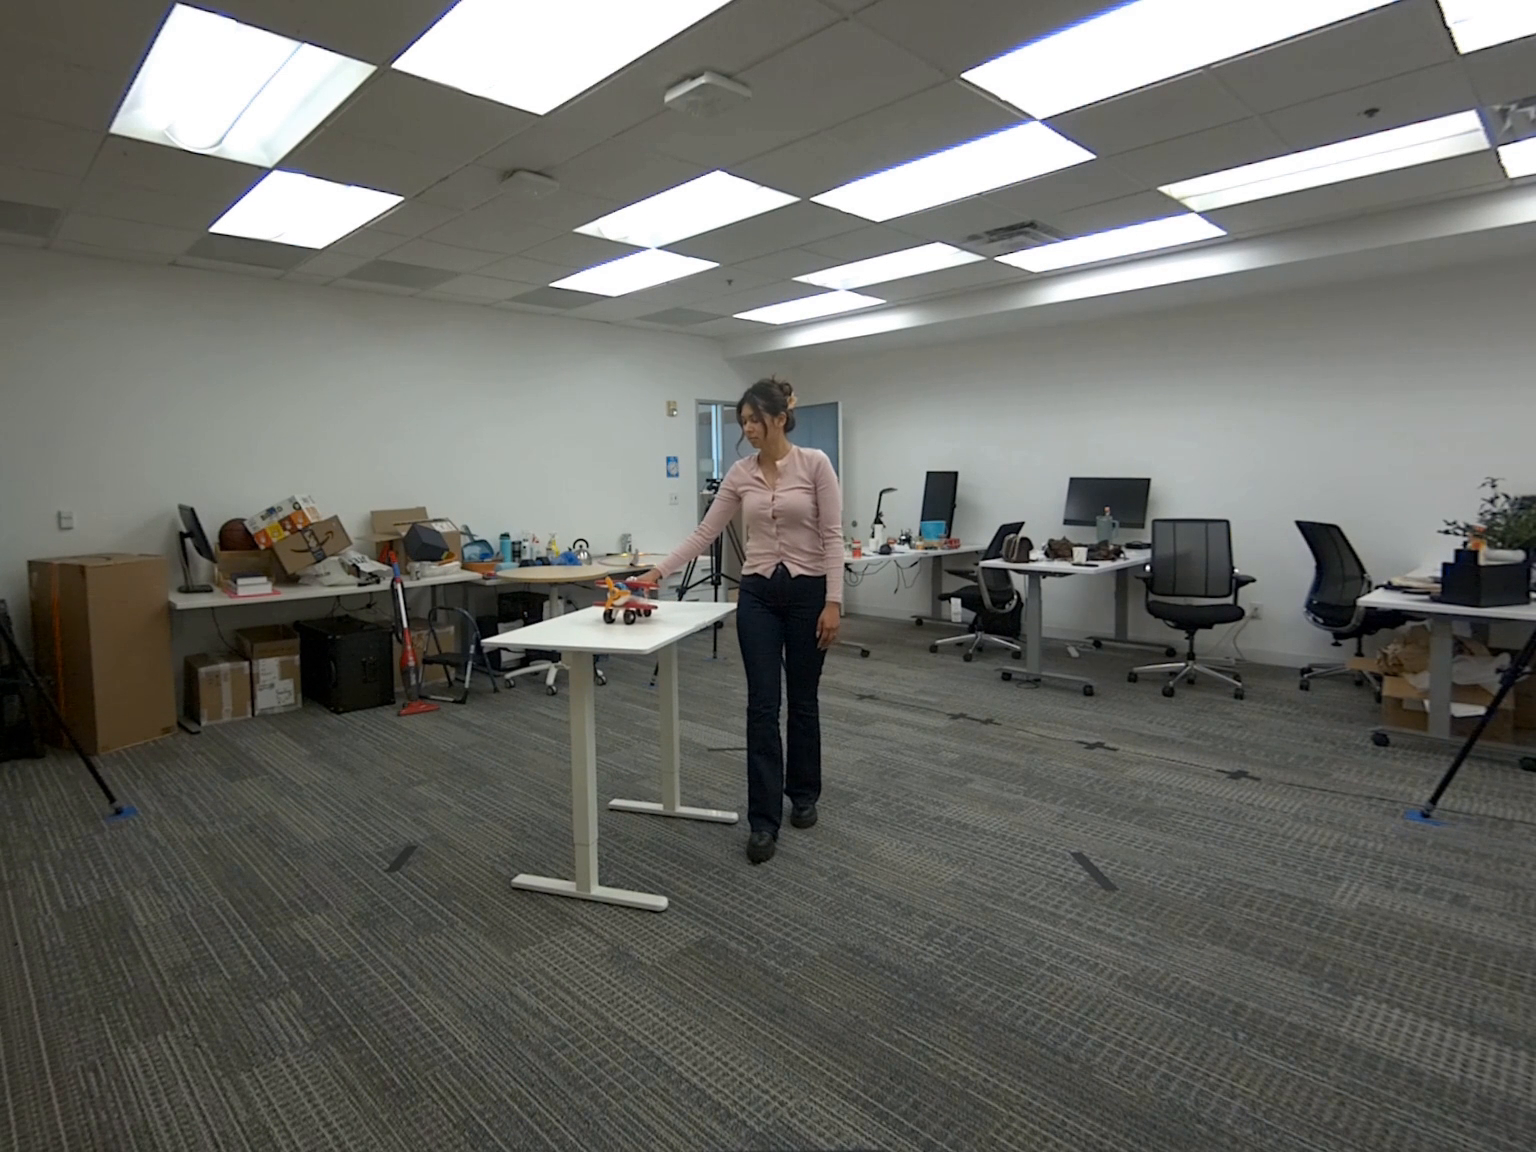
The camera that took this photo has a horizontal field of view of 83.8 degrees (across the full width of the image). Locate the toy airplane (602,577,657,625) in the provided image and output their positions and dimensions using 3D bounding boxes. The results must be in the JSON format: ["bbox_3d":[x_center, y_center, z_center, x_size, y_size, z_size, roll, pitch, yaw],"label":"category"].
[{"bbox_3d":[-0.528,0.089,3.173,0.249,0.156,0.262,-1,6,-8],"label":"toy airplane"}]
